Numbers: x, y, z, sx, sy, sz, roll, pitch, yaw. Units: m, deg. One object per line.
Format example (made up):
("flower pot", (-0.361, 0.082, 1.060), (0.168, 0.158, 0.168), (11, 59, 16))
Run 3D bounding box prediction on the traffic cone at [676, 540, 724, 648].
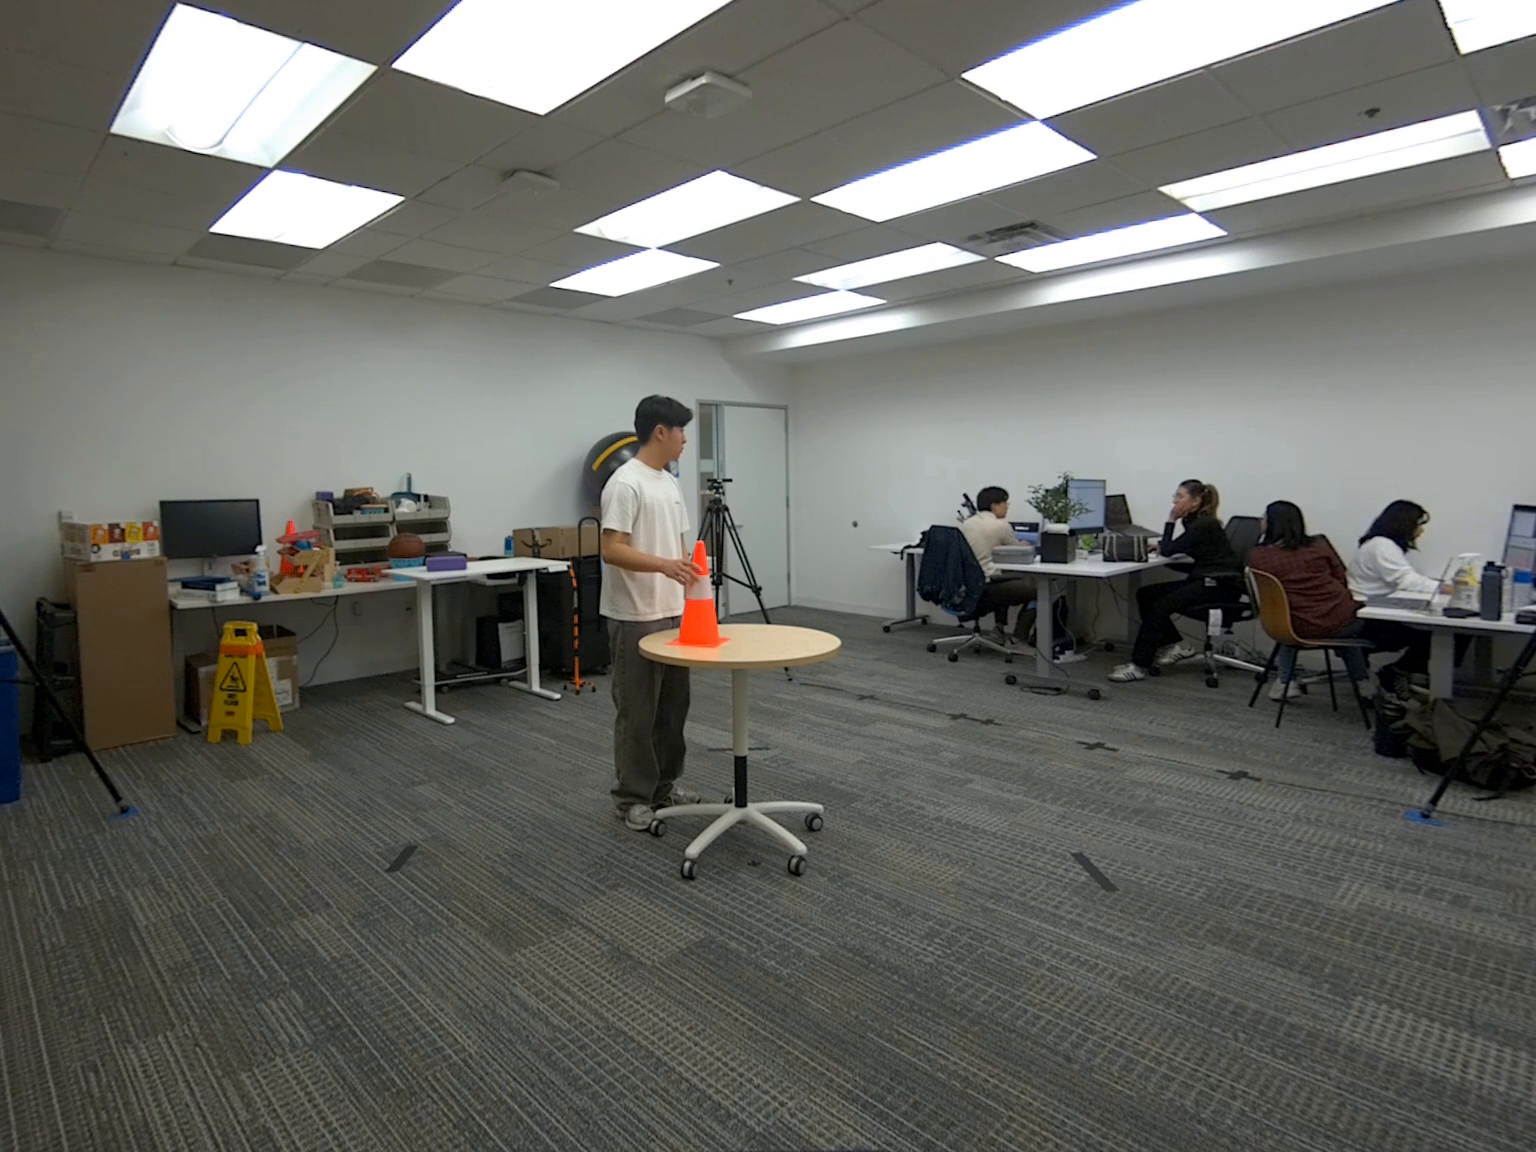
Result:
("traffic cone", (-0.259, 0.063, 3.226), (0.207, 0.382, 0.202), (1, 5, 22))
